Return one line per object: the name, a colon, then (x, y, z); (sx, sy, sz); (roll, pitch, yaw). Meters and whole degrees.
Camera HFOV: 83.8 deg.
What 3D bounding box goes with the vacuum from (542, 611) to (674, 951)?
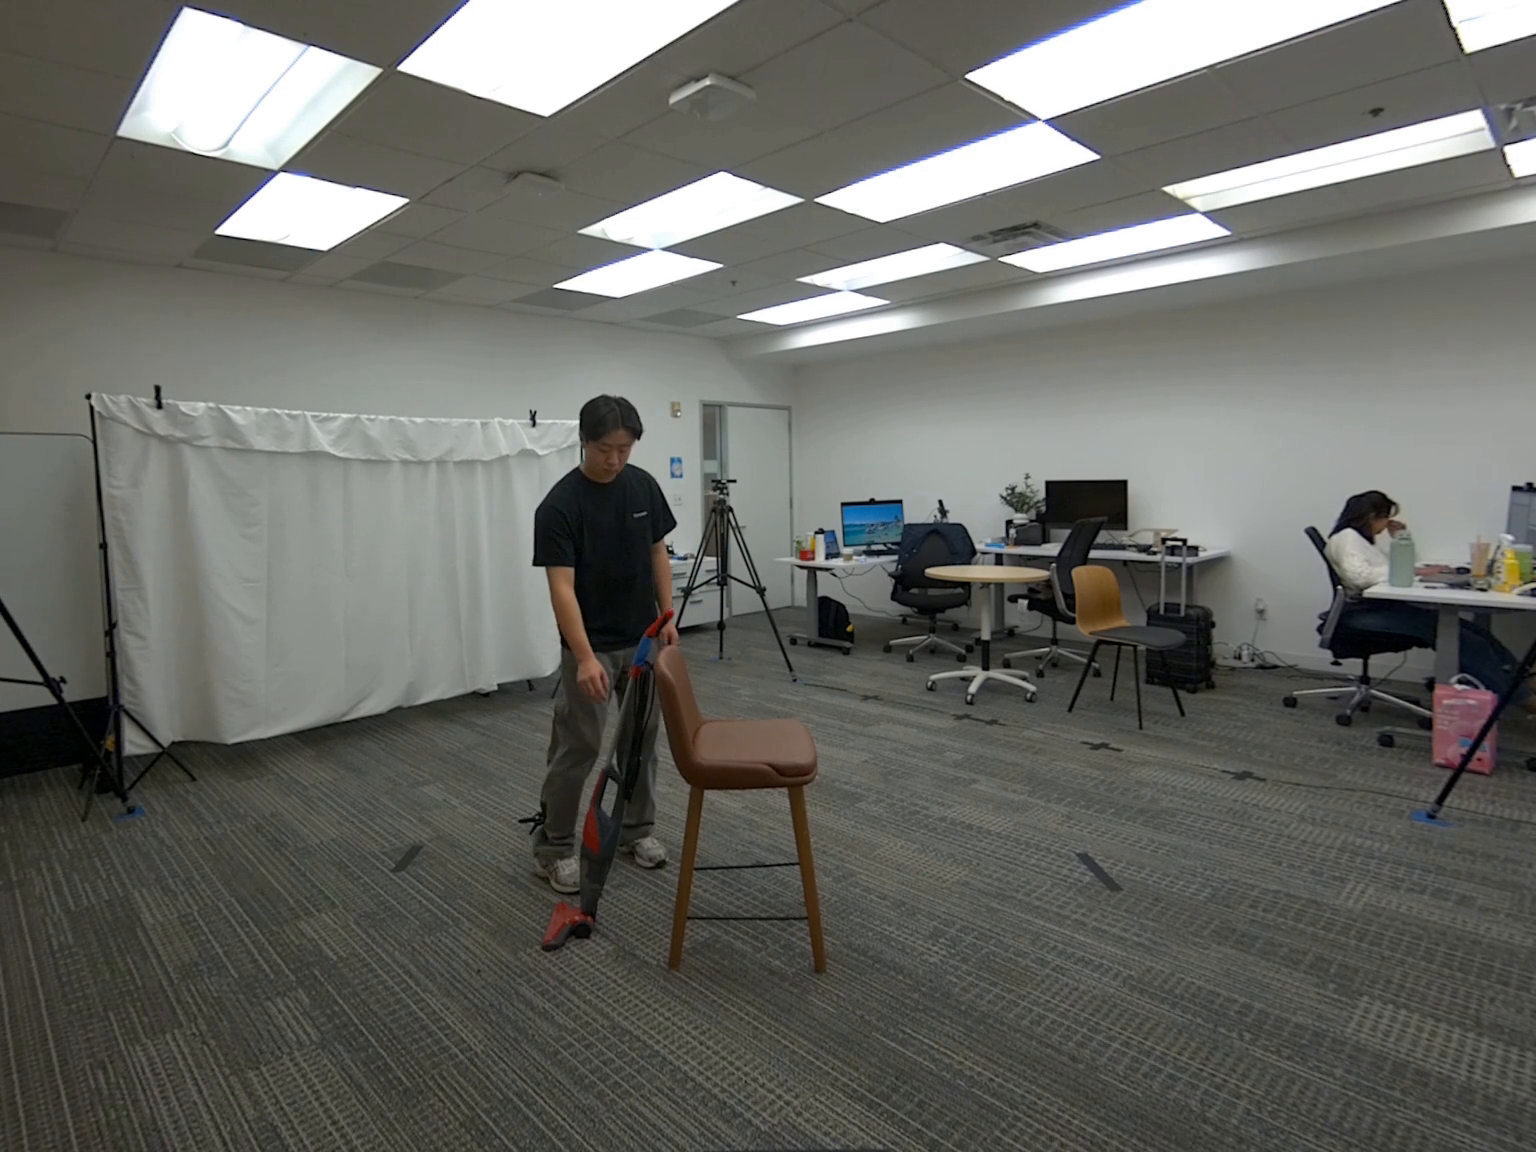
vacuum: (-0.471, 0.612, 2.659); (0.142, 1.047, 0.257); (16, 3, -14)
